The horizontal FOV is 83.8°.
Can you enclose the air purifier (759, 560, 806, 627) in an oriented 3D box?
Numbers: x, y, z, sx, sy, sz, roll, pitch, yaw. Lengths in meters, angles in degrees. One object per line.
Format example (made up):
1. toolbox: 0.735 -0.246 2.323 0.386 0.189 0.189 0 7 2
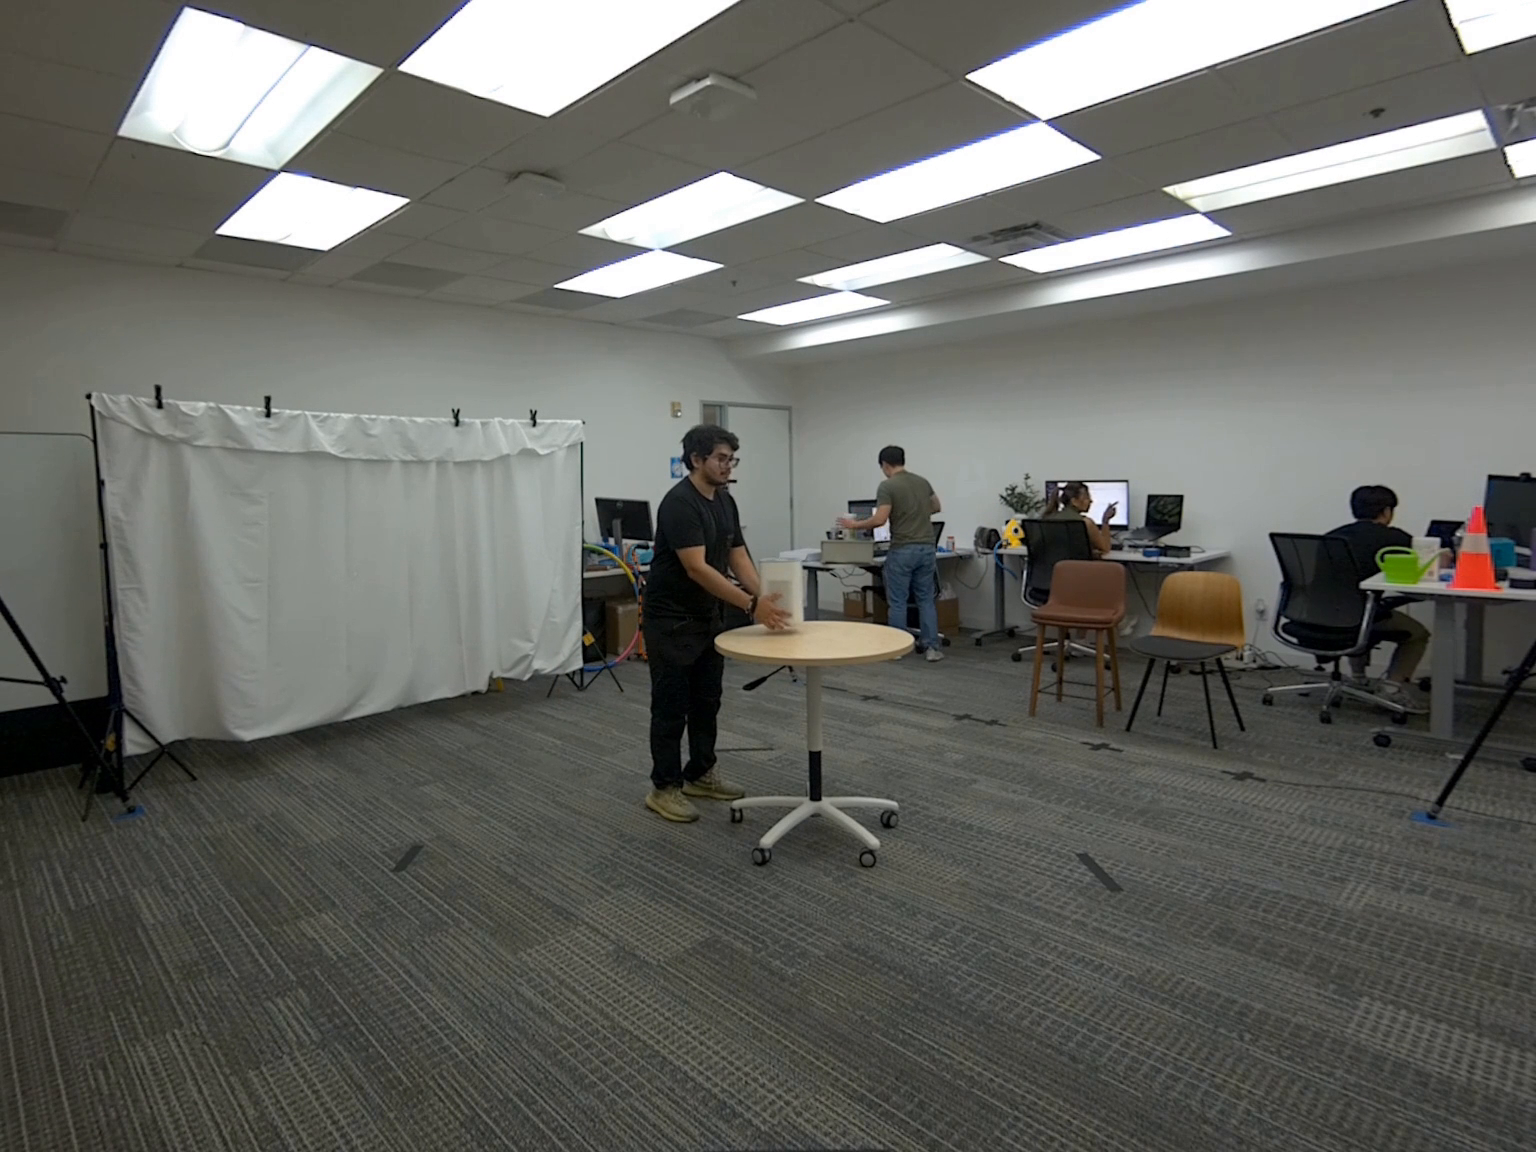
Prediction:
1. air purifier: 0.058 0.068 3.441 0.173 0.264 0.170 -1 4 9
